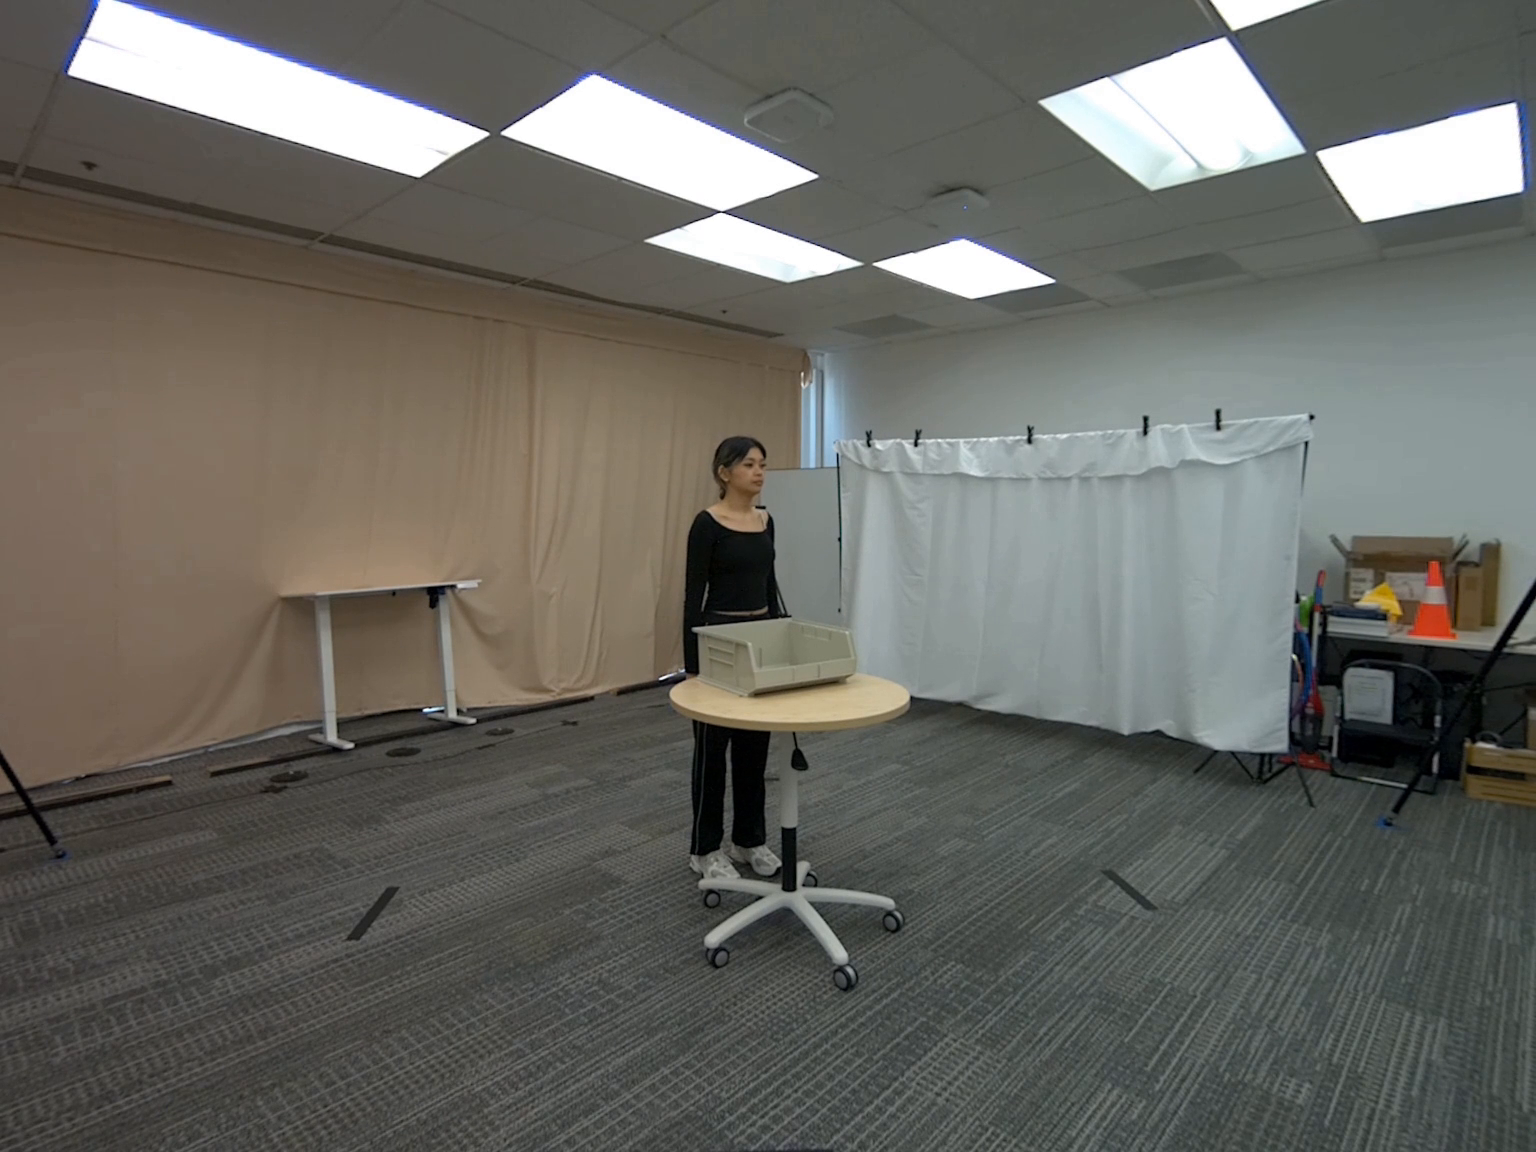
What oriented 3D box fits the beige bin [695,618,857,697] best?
[{"bbox_3d":[0.026,0.270,2.850,0.410,0.188,0.389,-4,5,-34],"label":"beige bin"}]
